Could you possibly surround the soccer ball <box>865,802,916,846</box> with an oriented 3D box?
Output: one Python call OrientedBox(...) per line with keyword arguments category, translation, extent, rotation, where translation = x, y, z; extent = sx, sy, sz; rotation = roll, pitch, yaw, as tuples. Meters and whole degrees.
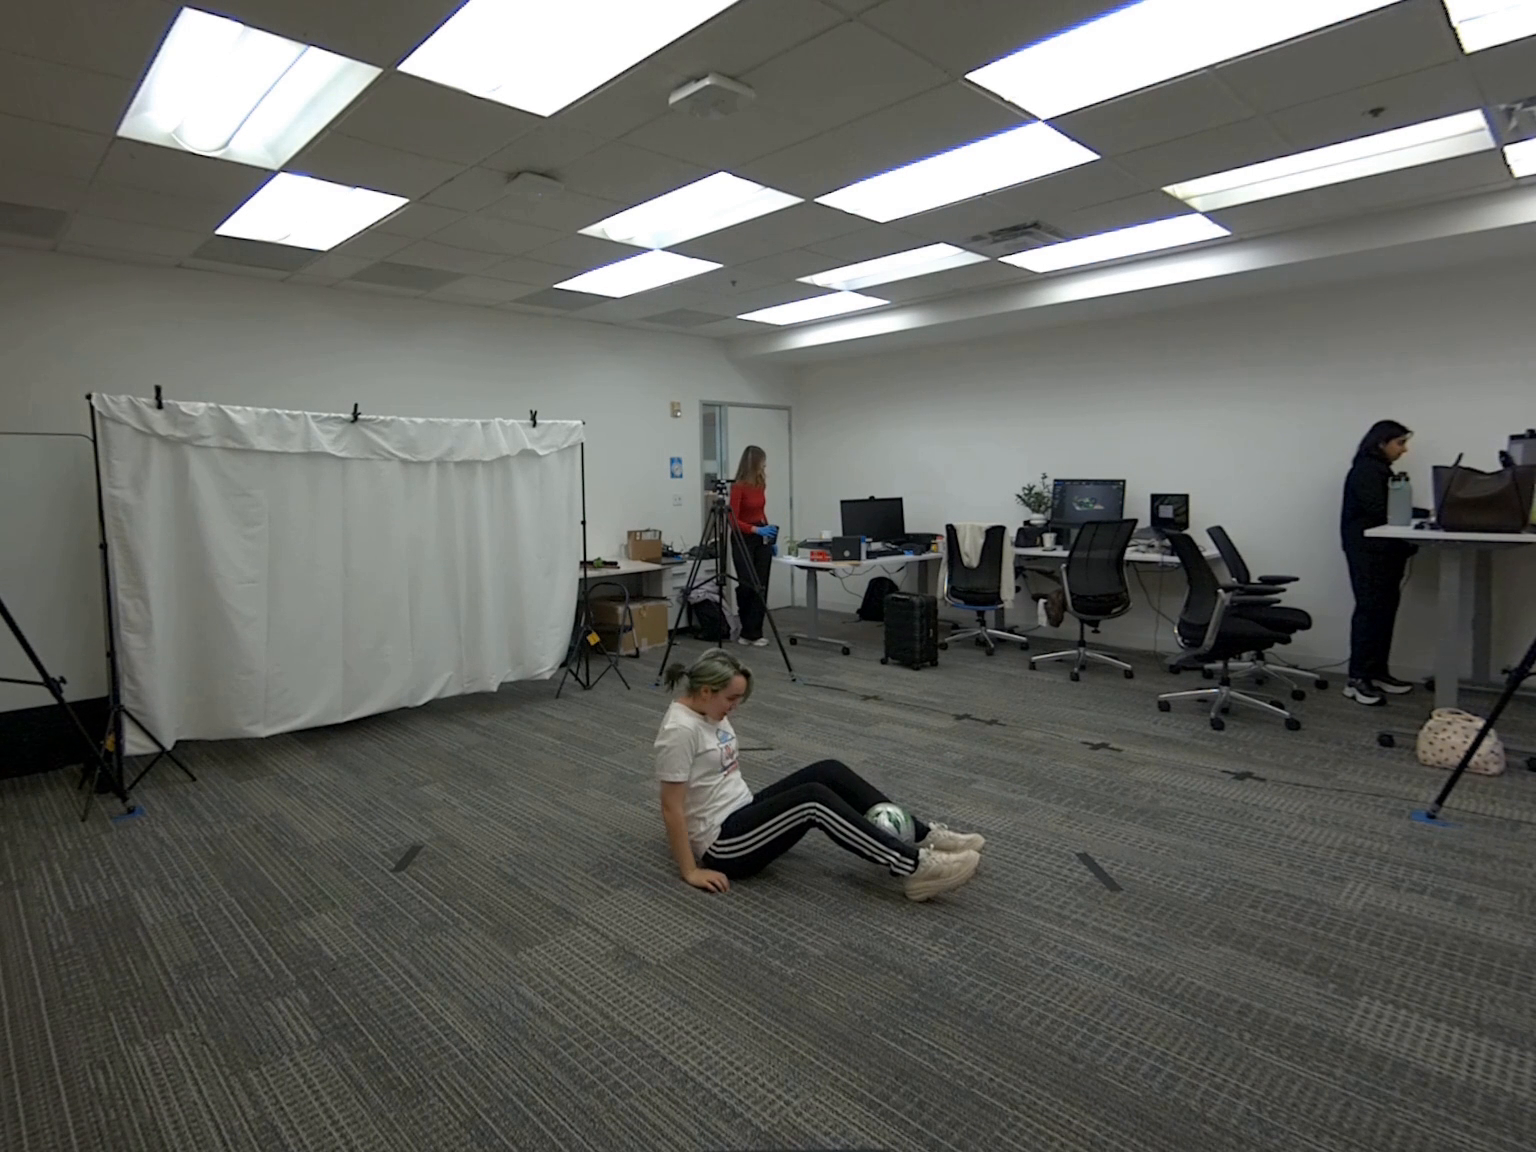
OrientedBox(category="soccer ball", translation=(0.402, 0.884, 2.982), extent=(0.187, 0.187, 0.188), rotation=(-1, 5, -2))
